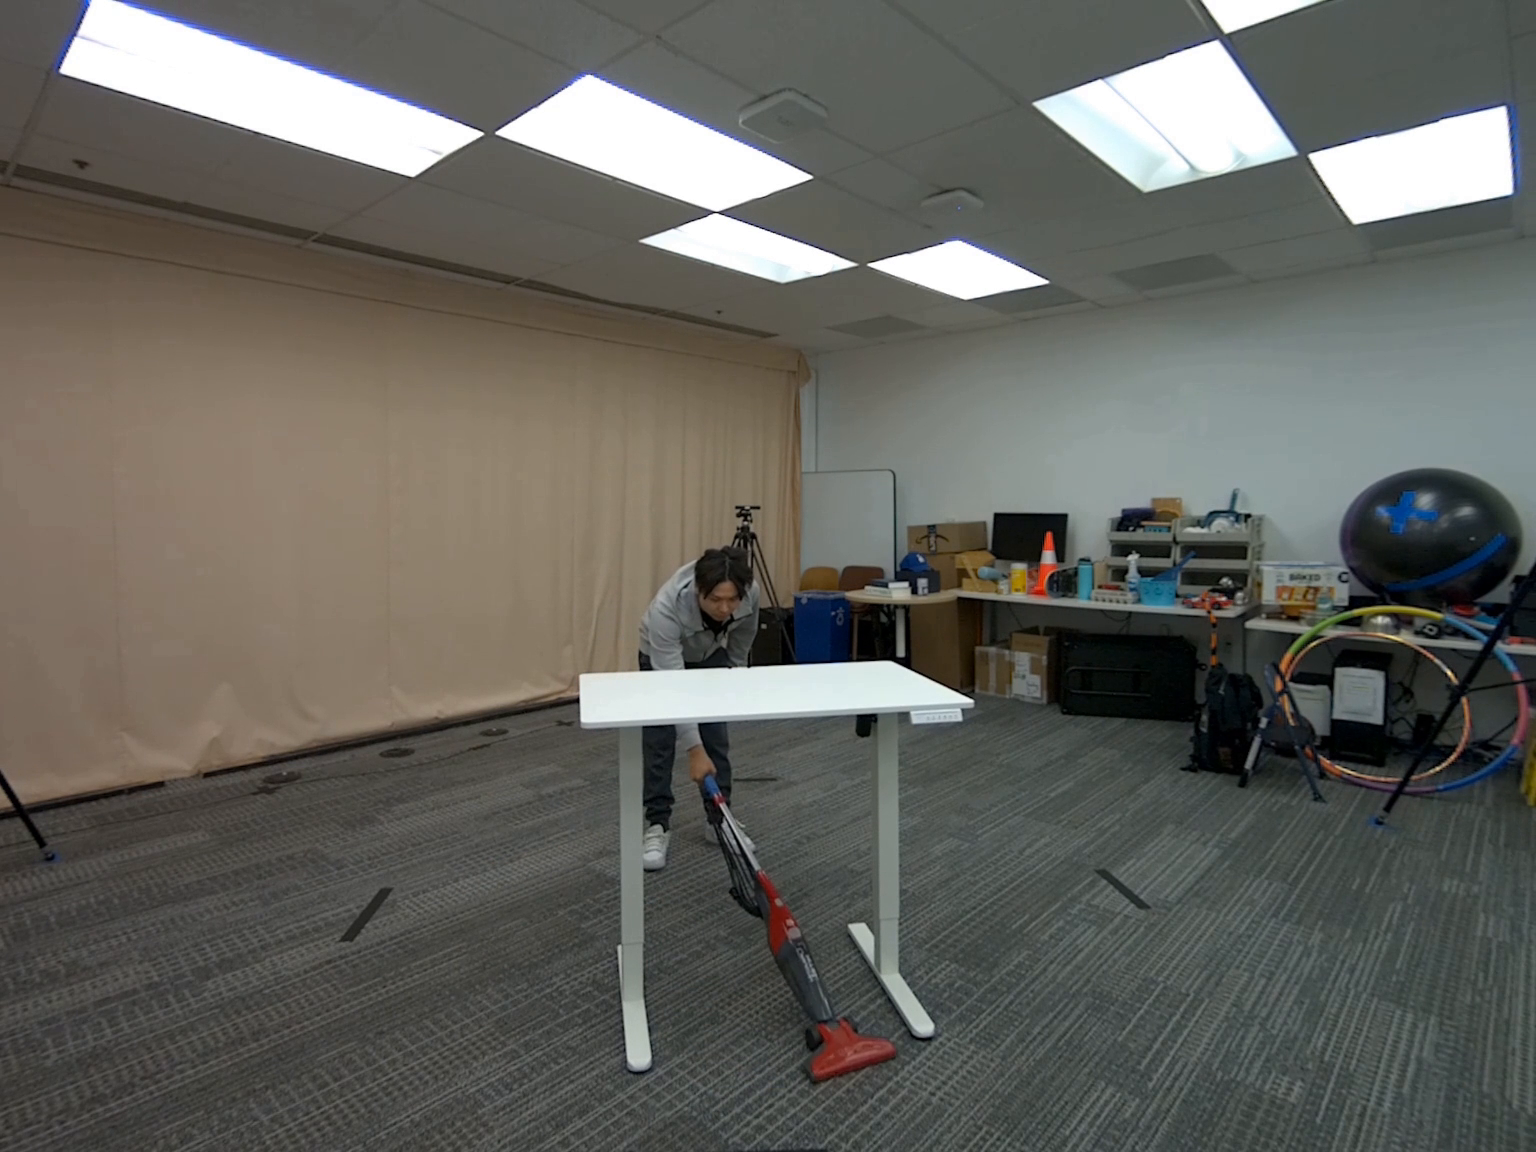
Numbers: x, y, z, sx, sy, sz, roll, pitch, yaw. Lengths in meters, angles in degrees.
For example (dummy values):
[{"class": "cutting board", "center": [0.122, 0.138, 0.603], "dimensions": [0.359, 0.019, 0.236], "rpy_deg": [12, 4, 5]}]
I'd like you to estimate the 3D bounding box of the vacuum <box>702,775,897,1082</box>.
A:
[{"class": "vacuum", "center": [-0.022, 0.943, 2.558], "dimensions": [0.245, 0.143, 1.084], "rpy_deg": [12, 22, -30]}]
